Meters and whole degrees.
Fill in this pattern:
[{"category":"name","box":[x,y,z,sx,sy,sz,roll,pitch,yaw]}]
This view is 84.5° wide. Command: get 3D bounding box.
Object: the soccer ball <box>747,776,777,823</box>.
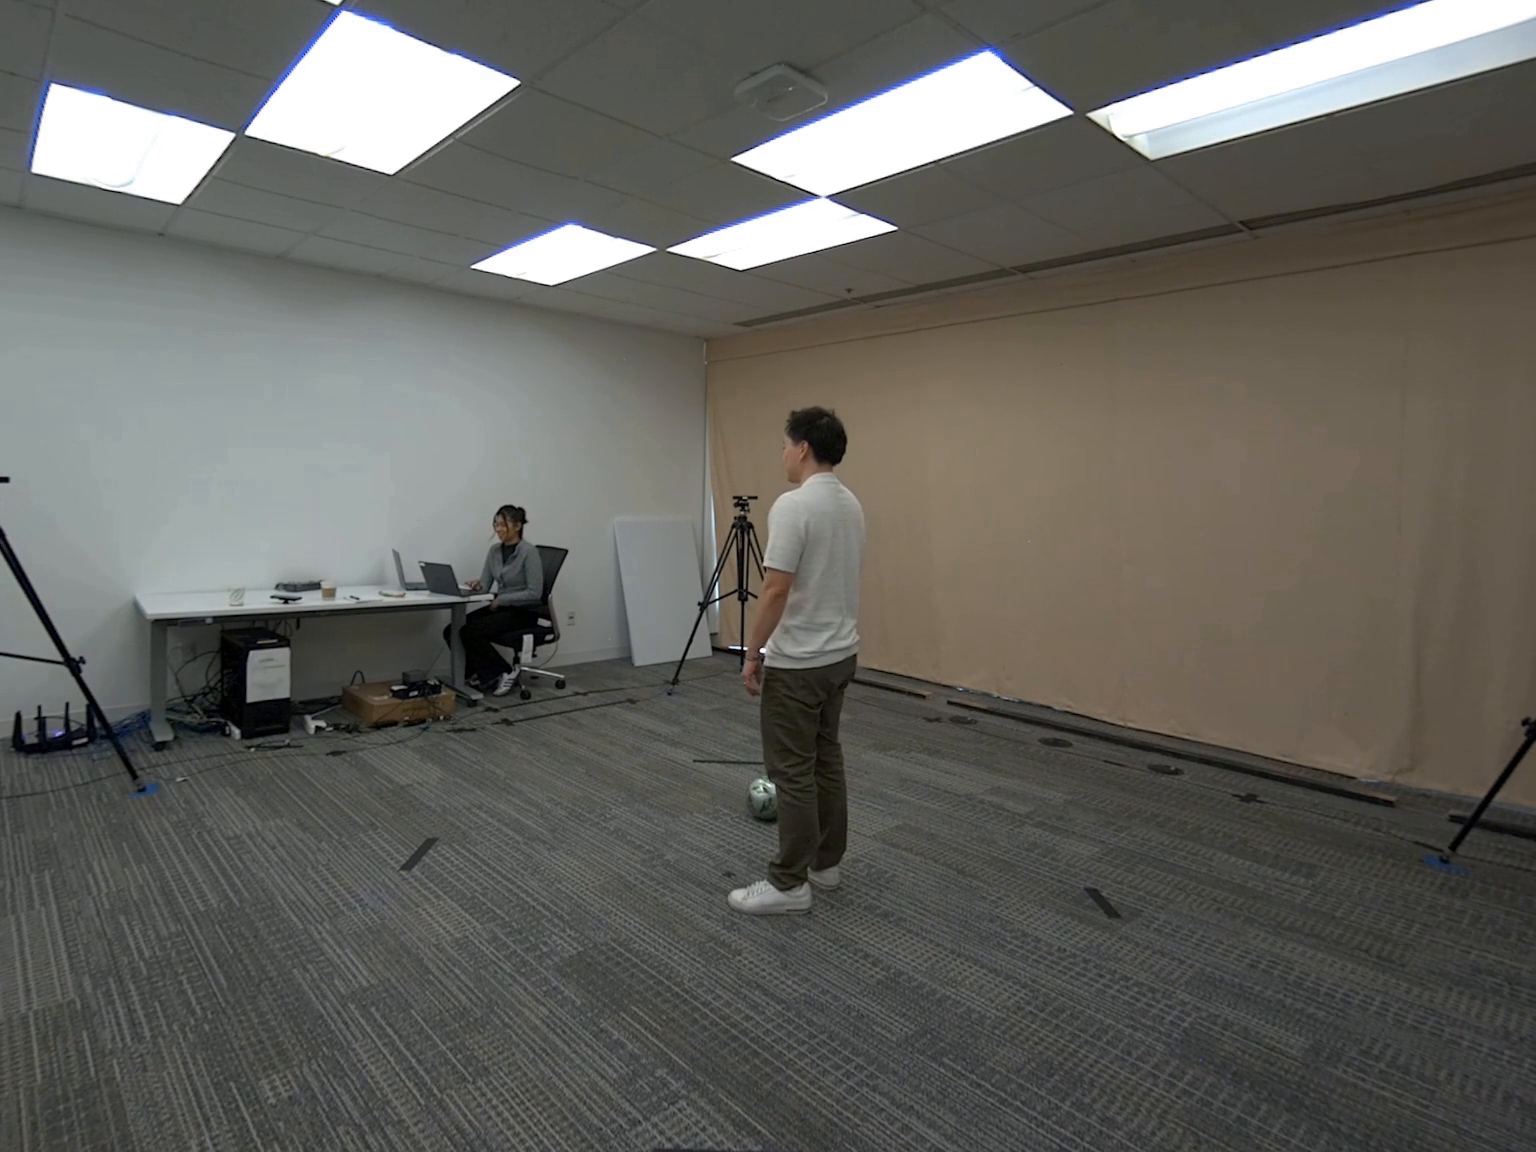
[{"category":"soccer ball","box":[-0.020,0.969,3.667,0.187,0.187,0.188,1,4,-1]}]
